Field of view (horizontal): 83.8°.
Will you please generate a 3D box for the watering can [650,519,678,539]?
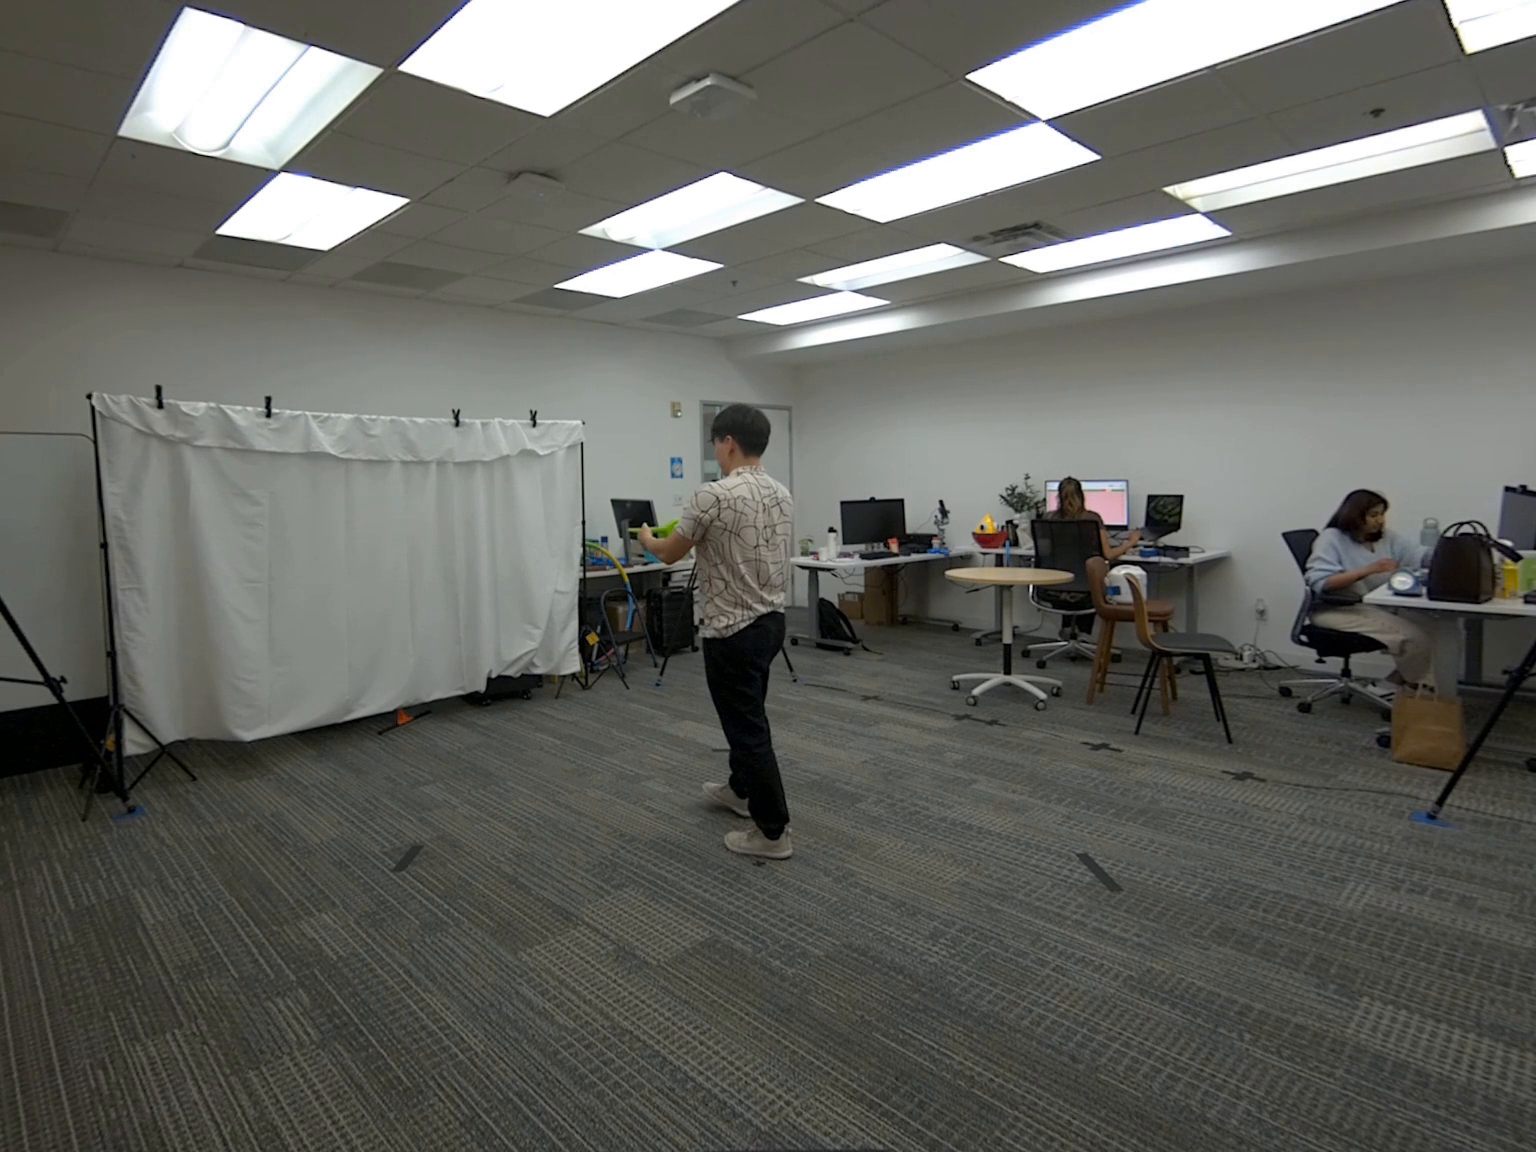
[{"bbox_3d":[-0.408,-0.170,3.441,0.276,0.098,0.178,-1,1,-10],"label":"watering can"}]
